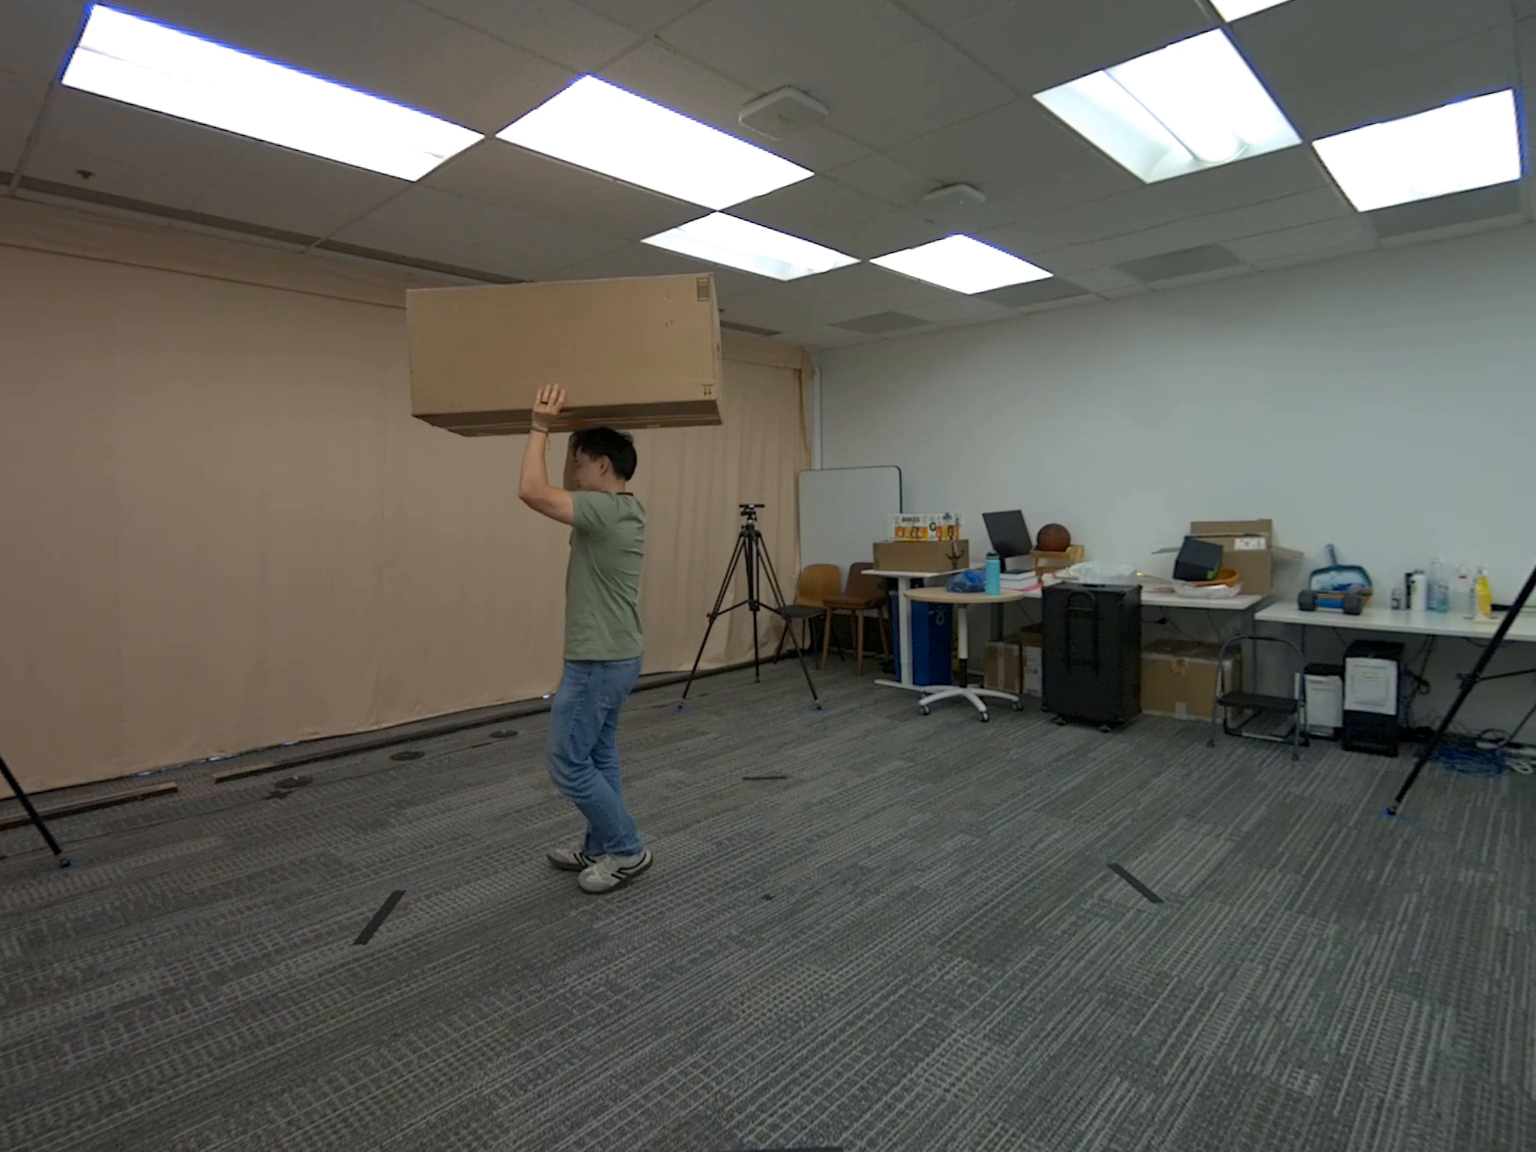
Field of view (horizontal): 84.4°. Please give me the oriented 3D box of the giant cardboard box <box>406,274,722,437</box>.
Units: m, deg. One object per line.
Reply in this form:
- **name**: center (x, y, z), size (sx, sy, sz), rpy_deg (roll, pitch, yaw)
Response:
- **giant cardboard box**: center (-0.690, -0.769, 3.057), size (1.028, 0.426, 0.577), rpy_deg (-3, 2, 2)
